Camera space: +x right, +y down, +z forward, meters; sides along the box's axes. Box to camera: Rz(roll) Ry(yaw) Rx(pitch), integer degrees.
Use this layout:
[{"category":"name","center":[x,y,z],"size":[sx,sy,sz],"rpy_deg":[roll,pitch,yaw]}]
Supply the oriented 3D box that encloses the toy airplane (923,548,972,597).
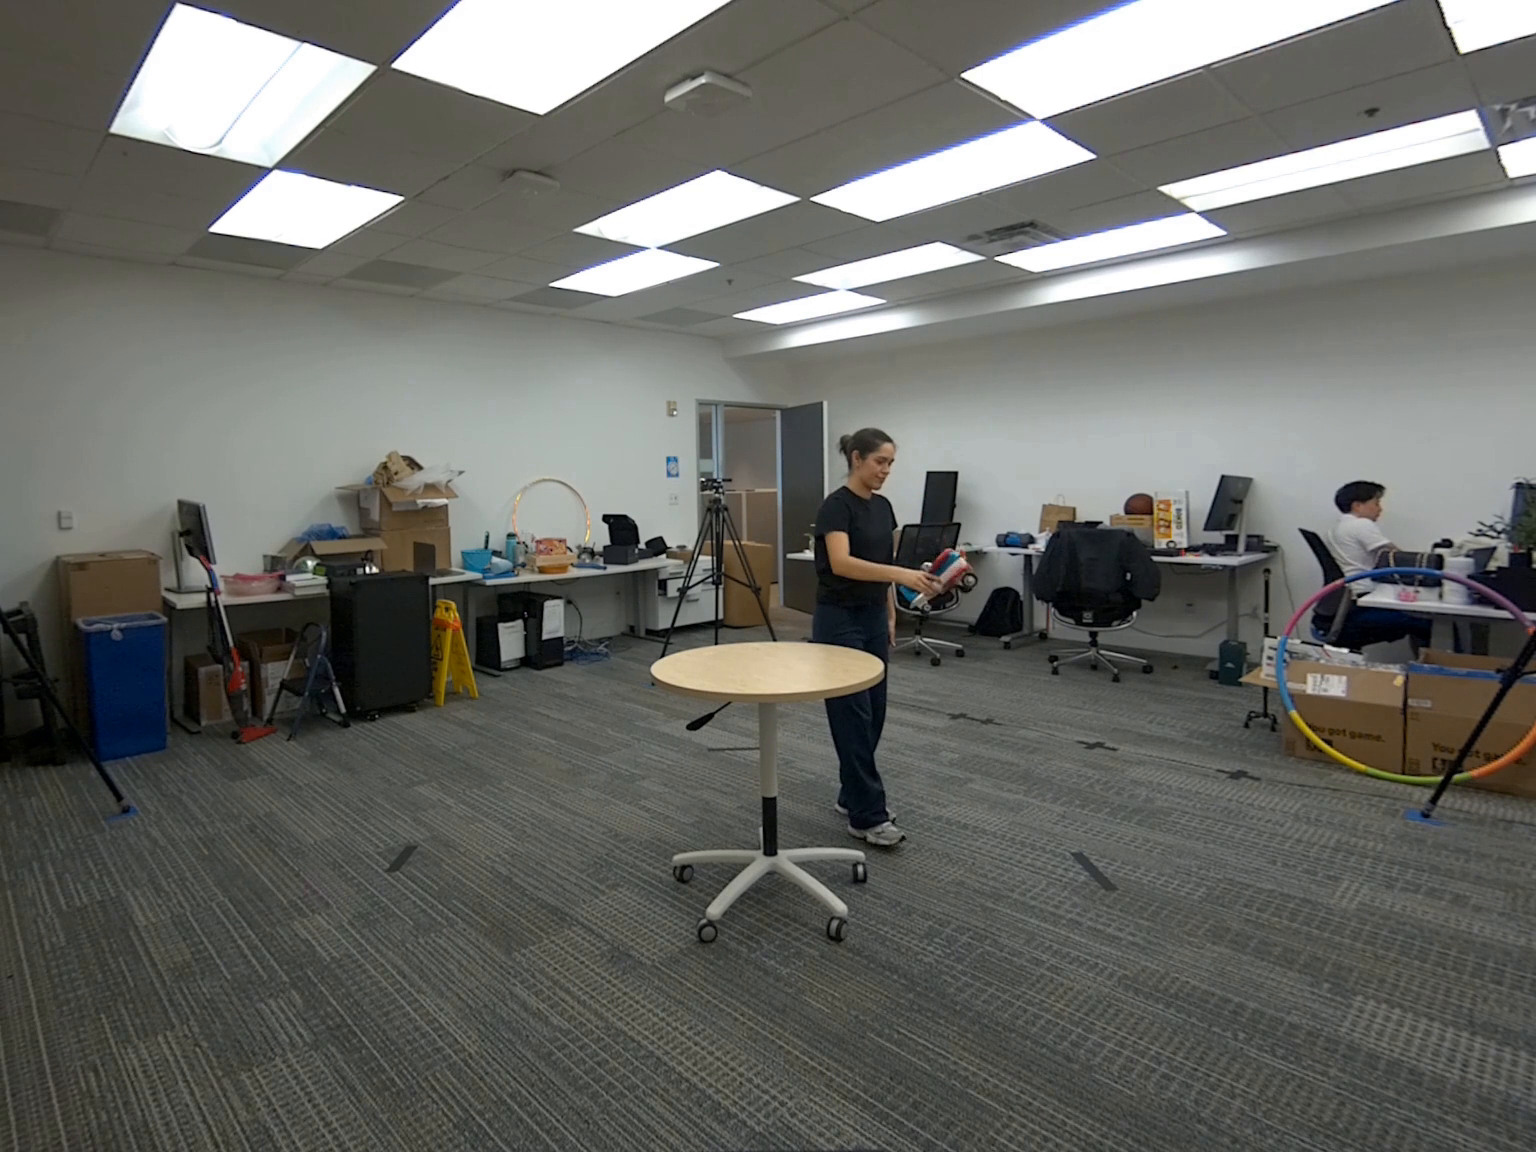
[{"category":"toy airplane","center":[0.598,-0.002,3.006],"size":[0.255,0.160,0.250],"rpy_deg":[-19,-18,-30]}]
